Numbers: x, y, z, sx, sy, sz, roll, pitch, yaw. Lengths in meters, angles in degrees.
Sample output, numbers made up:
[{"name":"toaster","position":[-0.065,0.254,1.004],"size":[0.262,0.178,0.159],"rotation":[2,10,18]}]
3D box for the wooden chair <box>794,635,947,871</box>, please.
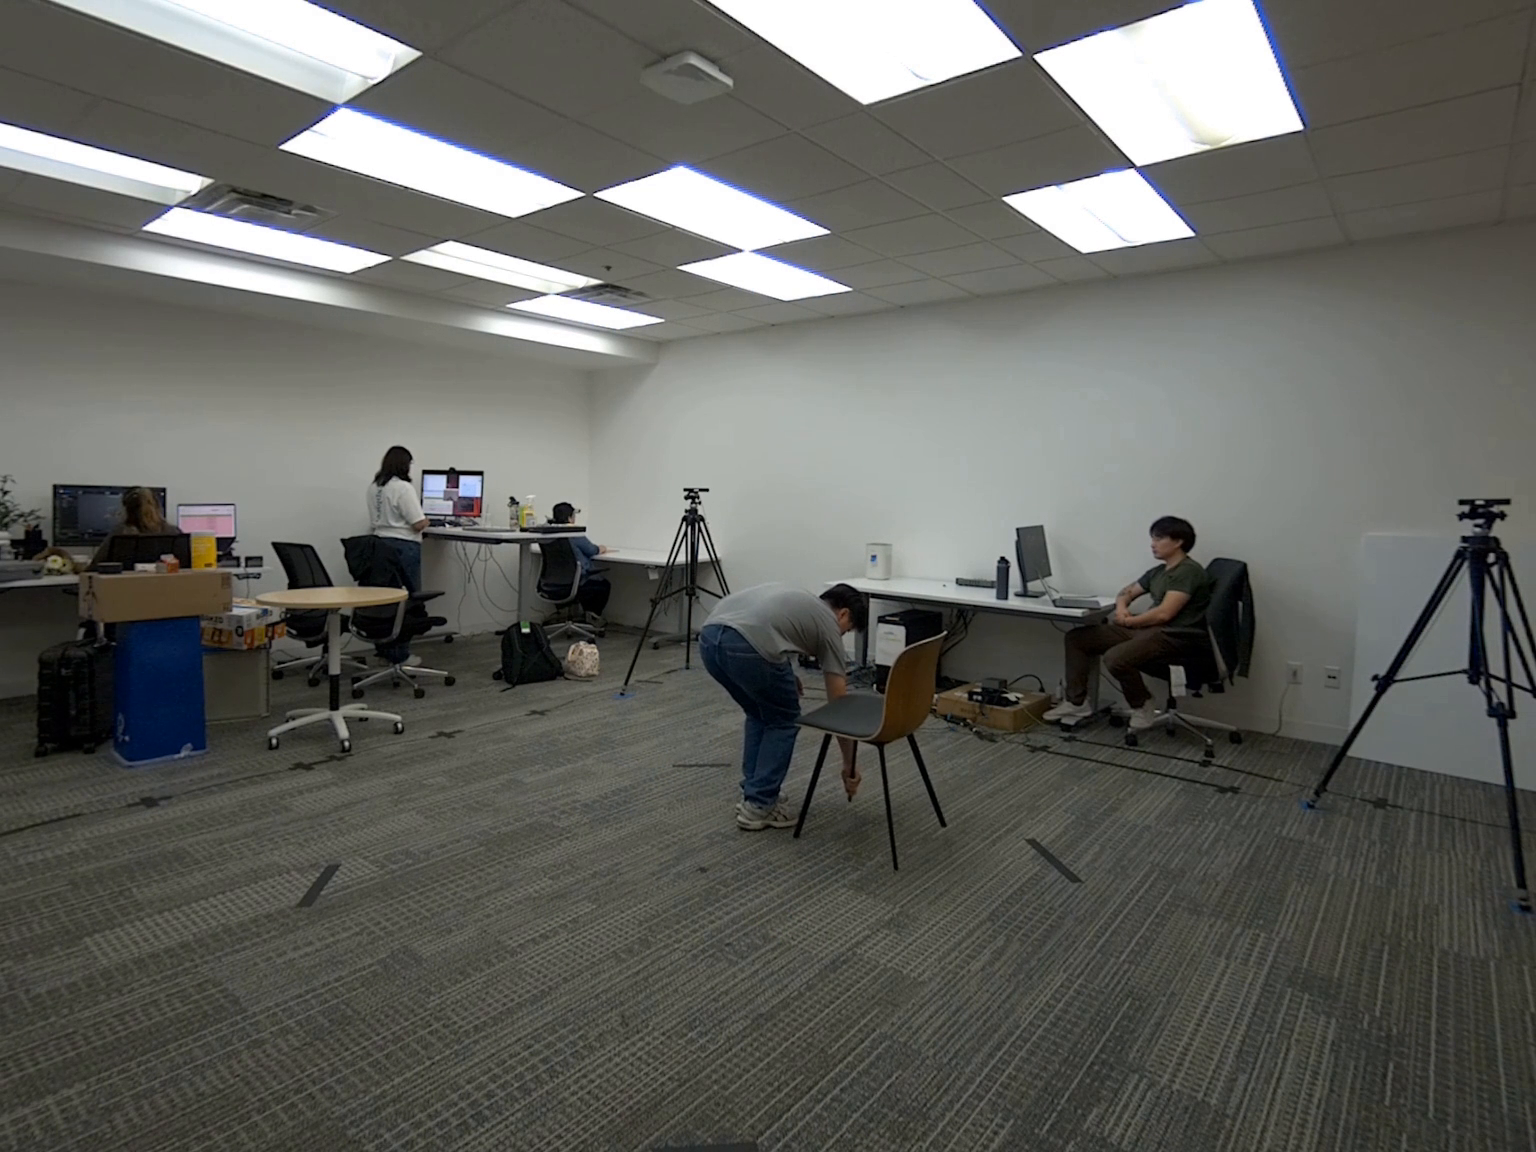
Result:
[{"name":"wooden chair","position":[0.394,0.611,3.397],"size":[0.541,0.870,0.466],"rotation":[10,12,35]}]
